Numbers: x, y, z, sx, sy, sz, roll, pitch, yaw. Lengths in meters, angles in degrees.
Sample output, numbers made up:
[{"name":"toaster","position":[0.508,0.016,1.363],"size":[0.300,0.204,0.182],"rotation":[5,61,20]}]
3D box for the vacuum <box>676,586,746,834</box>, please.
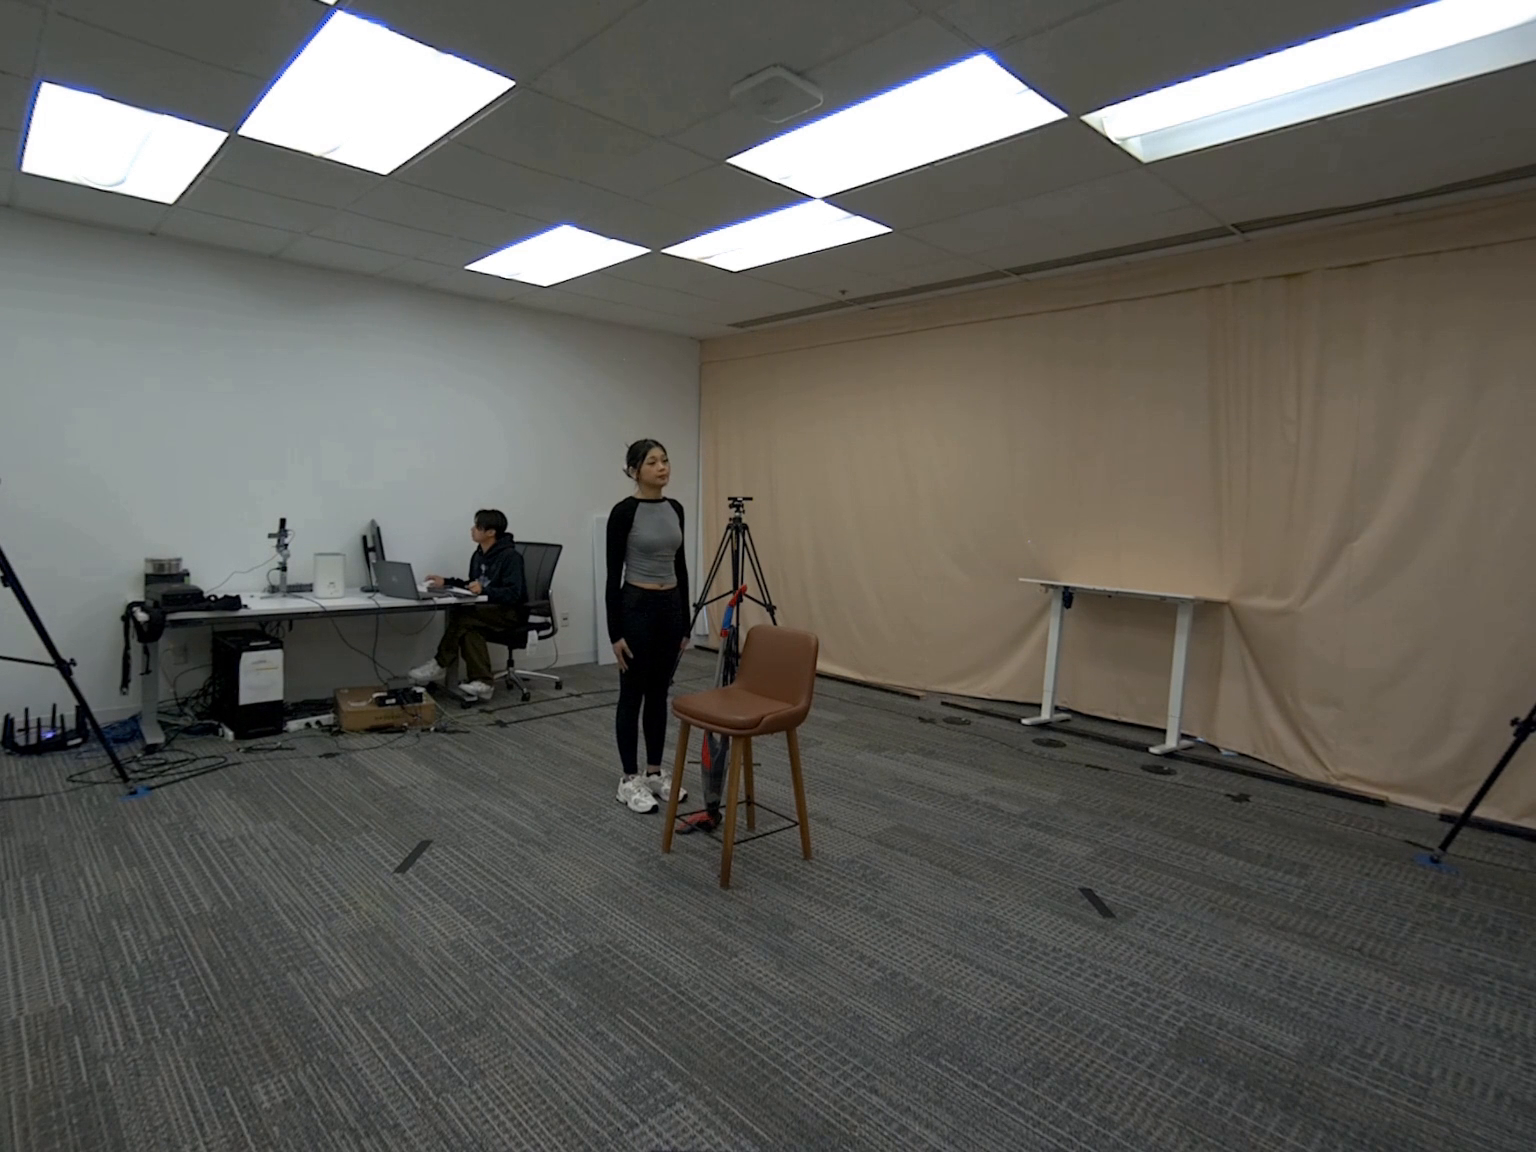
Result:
[{"name":"vacuum","position":[-0.210,0.549,3.532],"size":[0.141,1.044,0.259],"rotation":[-1,9,-31]}]
